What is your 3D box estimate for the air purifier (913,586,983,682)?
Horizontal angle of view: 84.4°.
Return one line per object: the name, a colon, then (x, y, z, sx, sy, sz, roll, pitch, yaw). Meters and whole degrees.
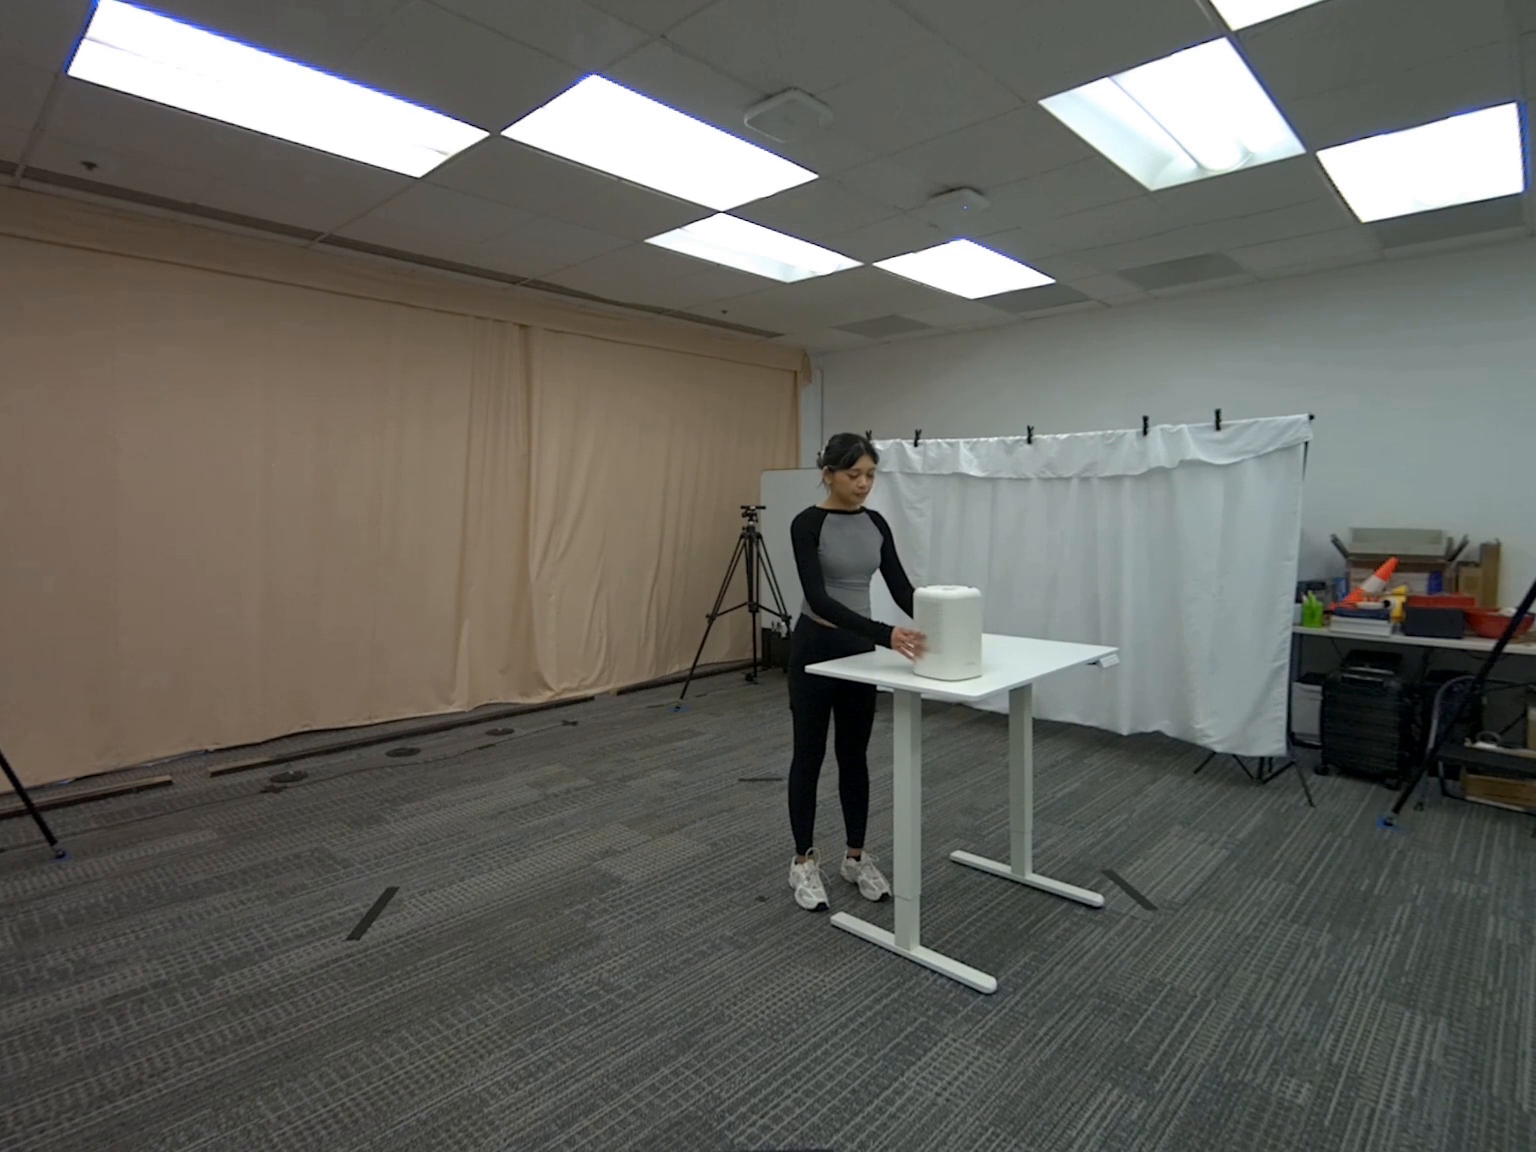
air purifier: (0.547, 0.167, 2.526, 0.166, 0.265, 0.177, -4, 5, -34)
